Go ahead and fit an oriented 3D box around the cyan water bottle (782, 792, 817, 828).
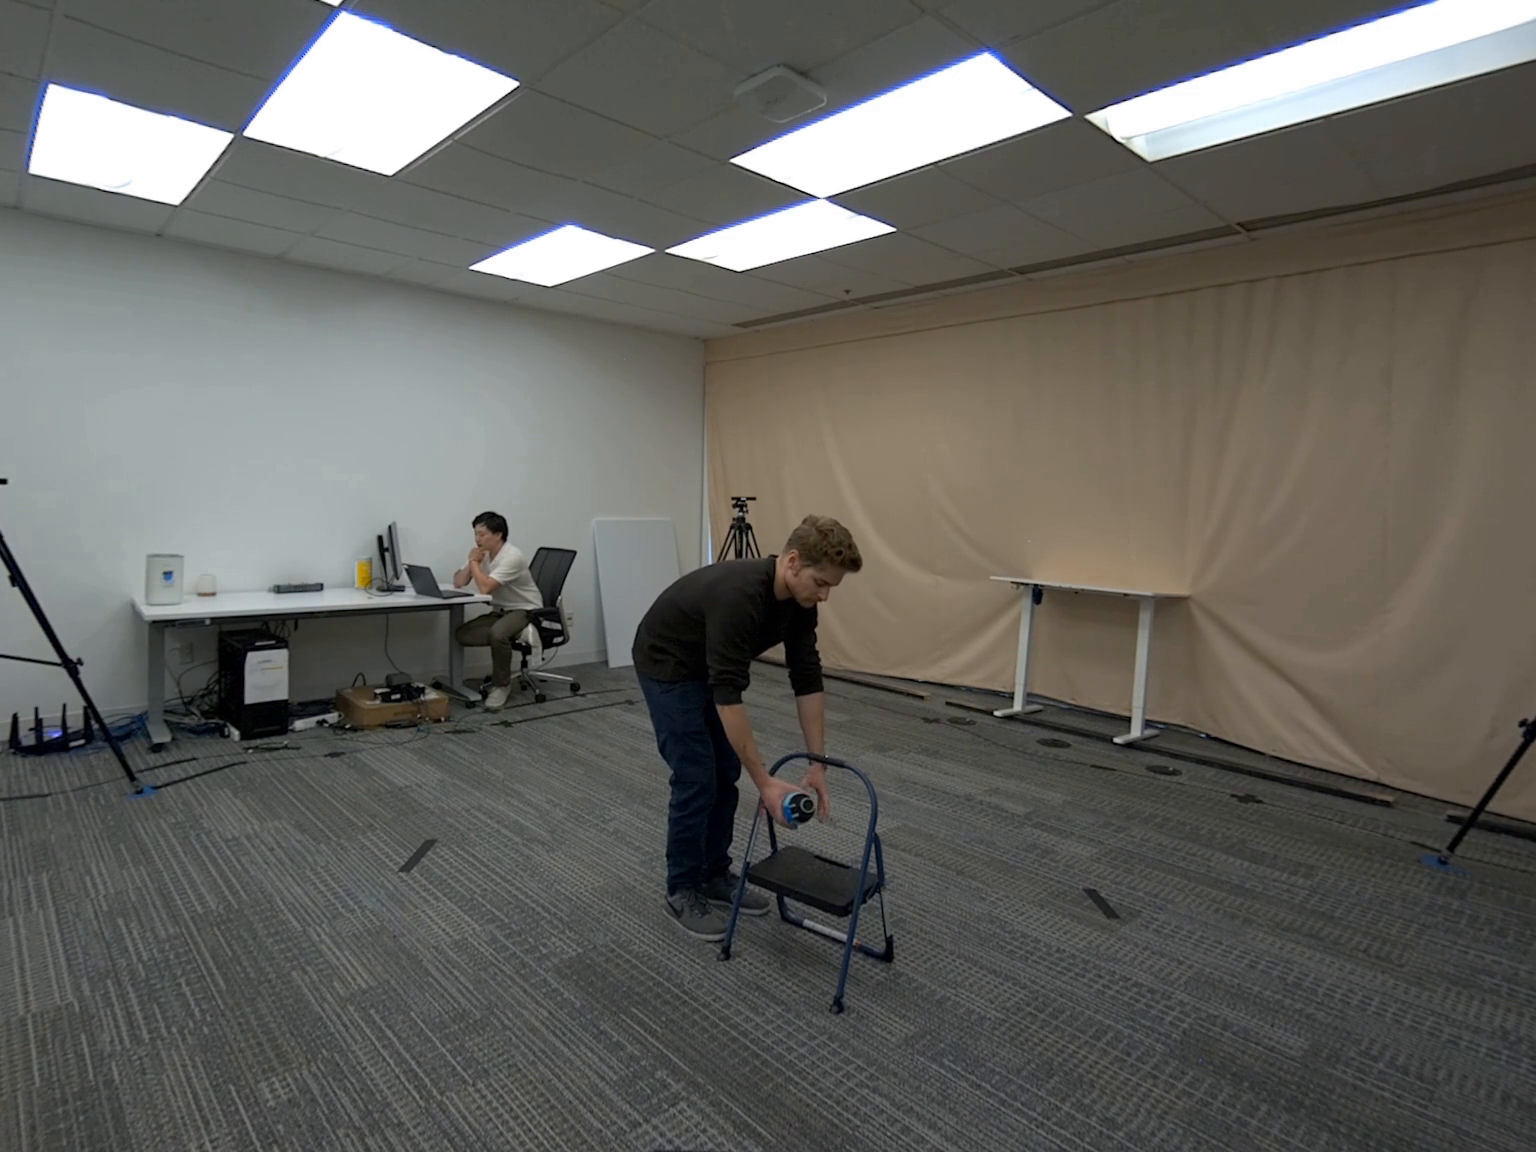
[{"bbox_3d":[0.072,0.688,2.476,0.092,0.093,0.280,1,-17,-5],"label":"cyan water bottle"}]
